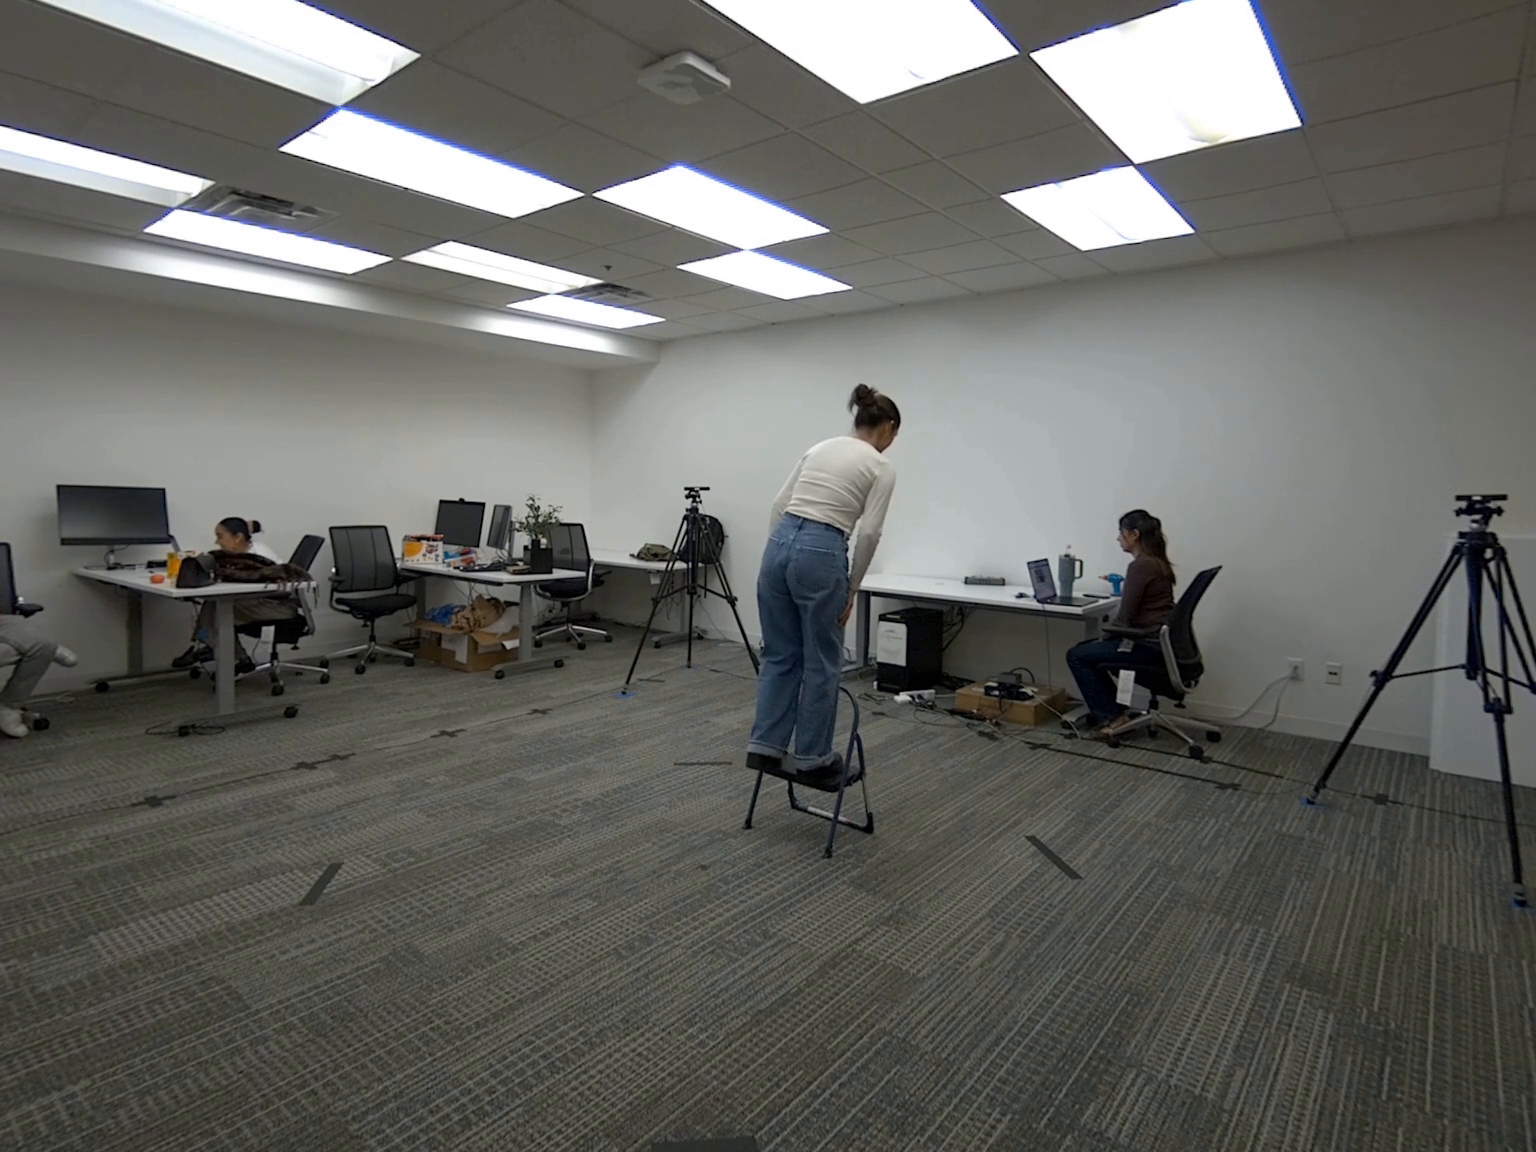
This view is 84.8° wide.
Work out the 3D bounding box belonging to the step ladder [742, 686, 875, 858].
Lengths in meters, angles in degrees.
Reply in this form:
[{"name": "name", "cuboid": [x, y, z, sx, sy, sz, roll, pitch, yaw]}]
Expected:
[{"name": "step ladder", "cuboid": [0.167, 0.732, 3.463, 0.445, 0.604, 0.339, 4, 4, 39]}]
